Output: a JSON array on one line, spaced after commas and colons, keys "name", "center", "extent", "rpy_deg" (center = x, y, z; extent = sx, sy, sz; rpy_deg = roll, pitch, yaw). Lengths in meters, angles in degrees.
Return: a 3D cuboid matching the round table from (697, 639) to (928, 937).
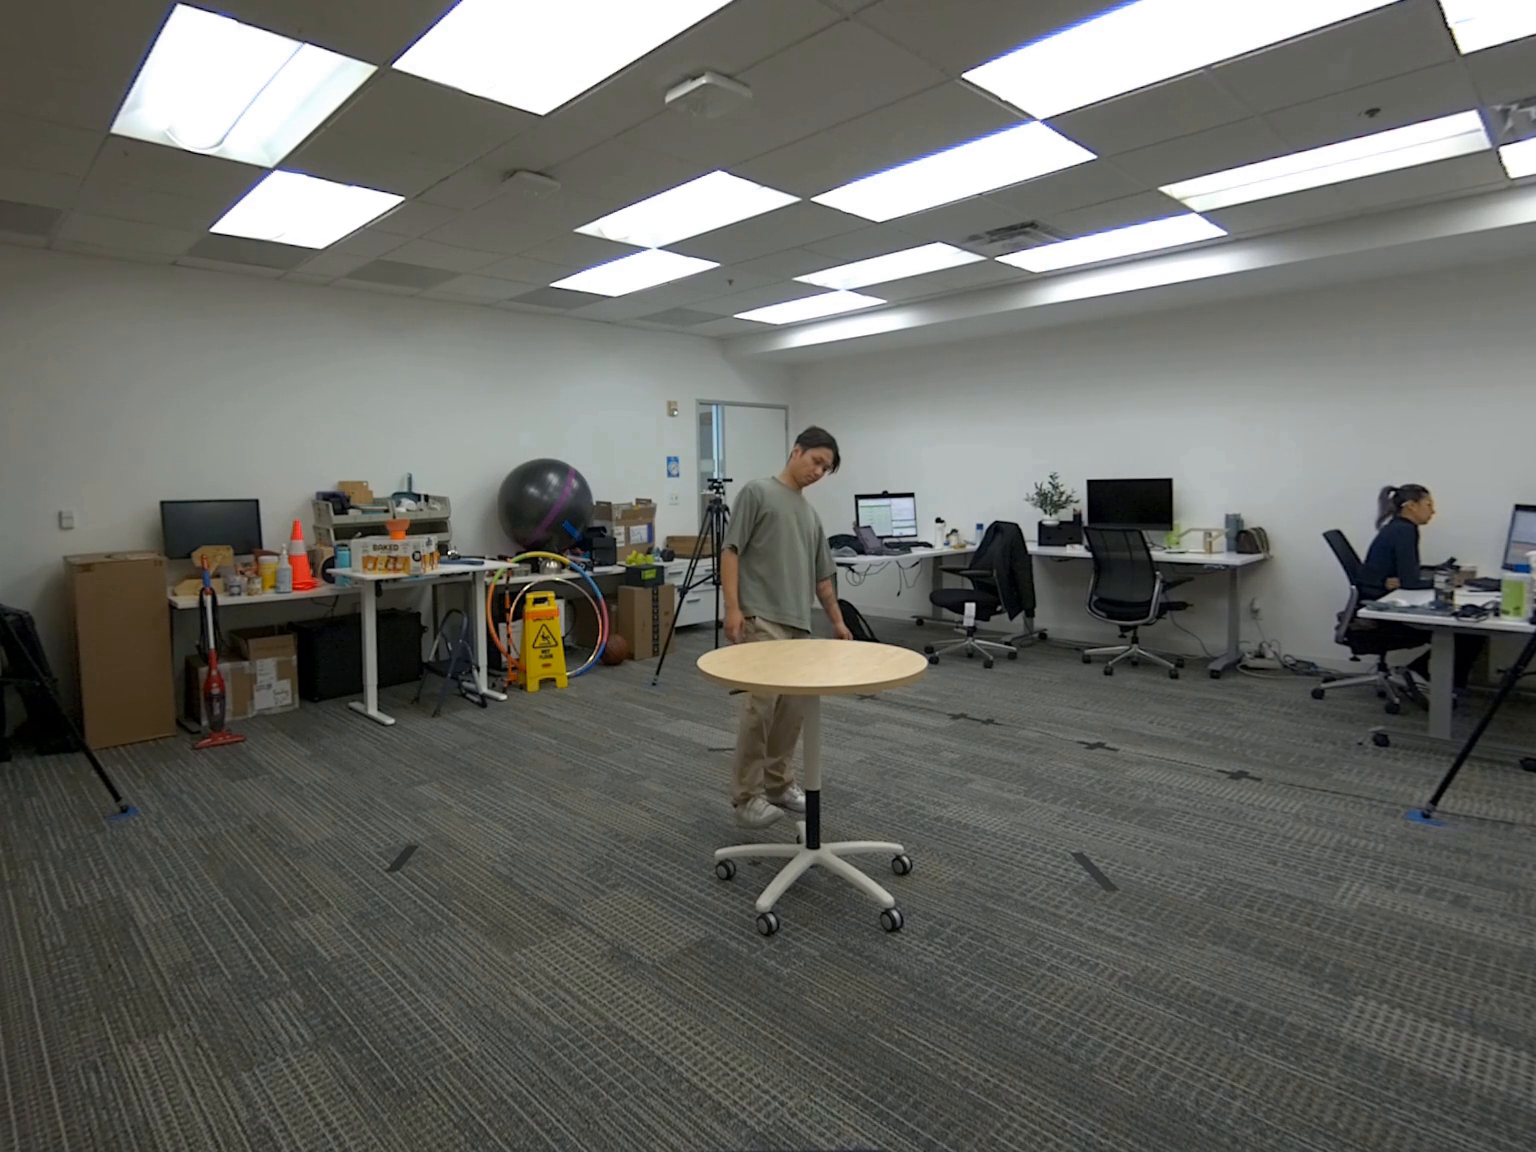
[{"name": "round table", "center": [0.140, 0.675, 2.898], "extent": [0.784, 0.784, 0.788], "rpy_deg": [-2, 4, -2]}]
